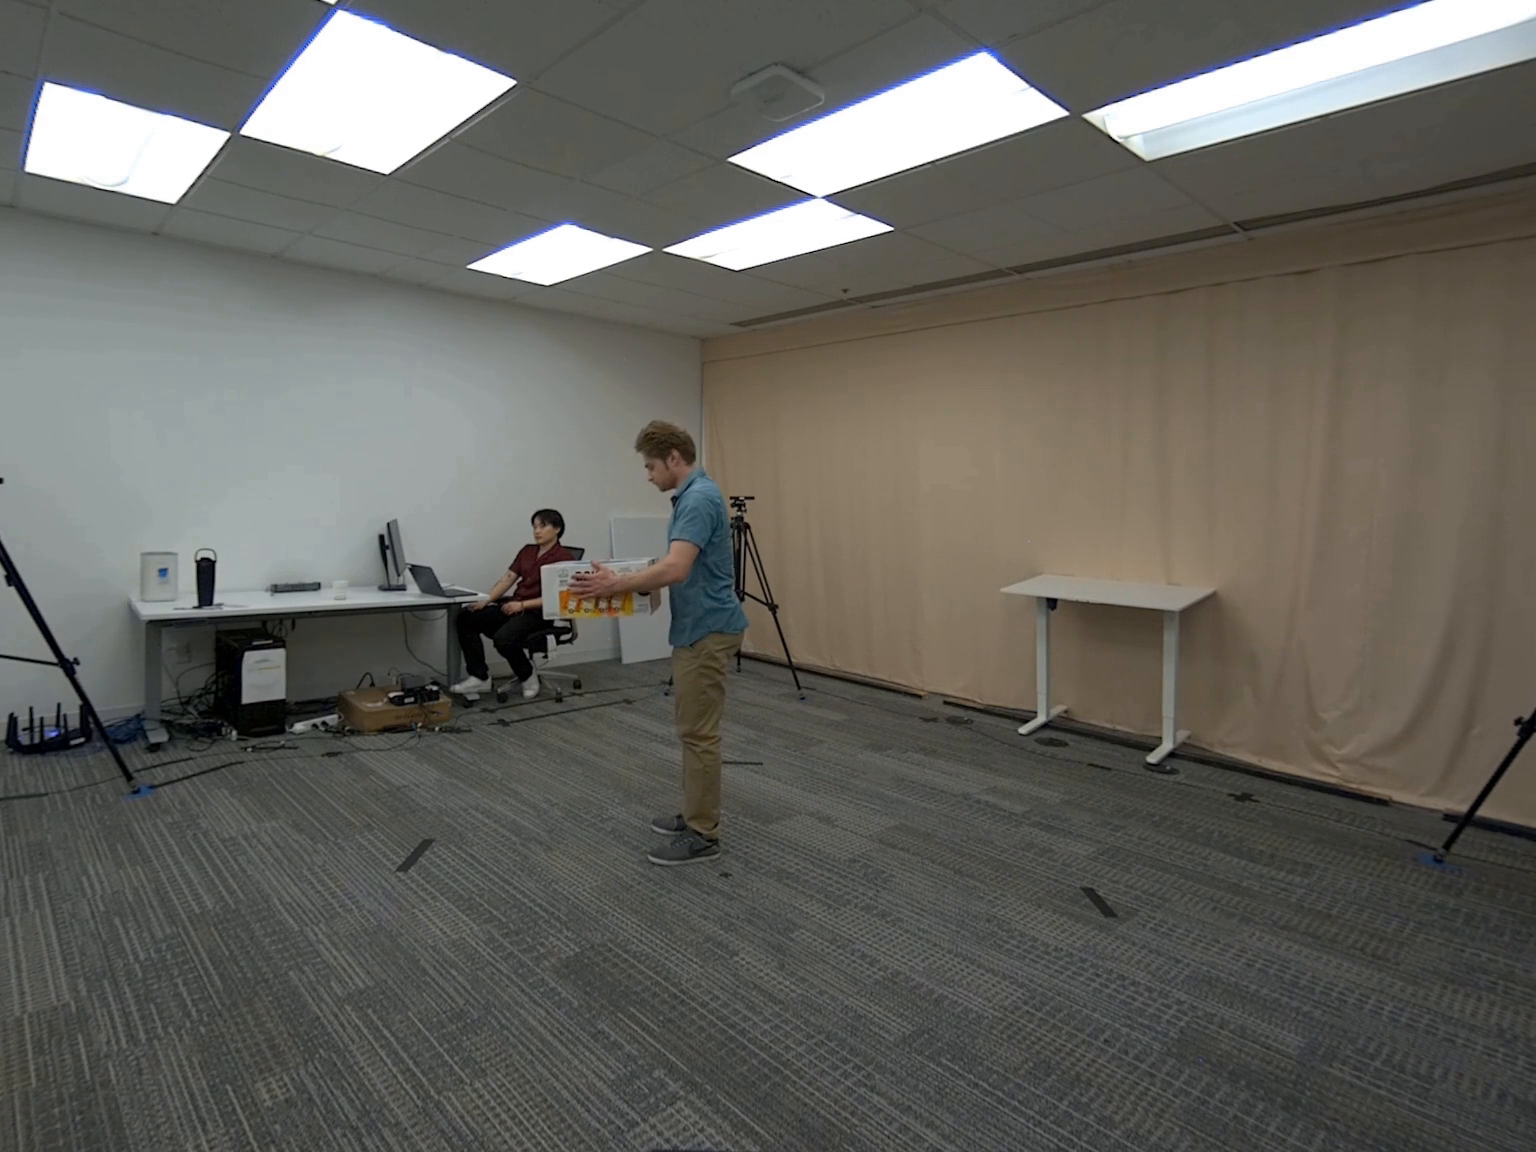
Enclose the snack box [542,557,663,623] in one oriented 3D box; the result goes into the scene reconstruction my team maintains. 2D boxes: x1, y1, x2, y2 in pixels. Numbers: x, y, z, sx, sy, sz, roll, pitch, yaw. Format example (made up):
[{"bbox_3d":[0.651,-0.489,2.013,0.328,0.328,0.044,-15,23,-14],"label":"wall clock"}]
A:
[{"bbox_3d":[-0.636,0.047,3.306,0.405,0.205,0.341,-3,3,0],"label":"snack box"}]
